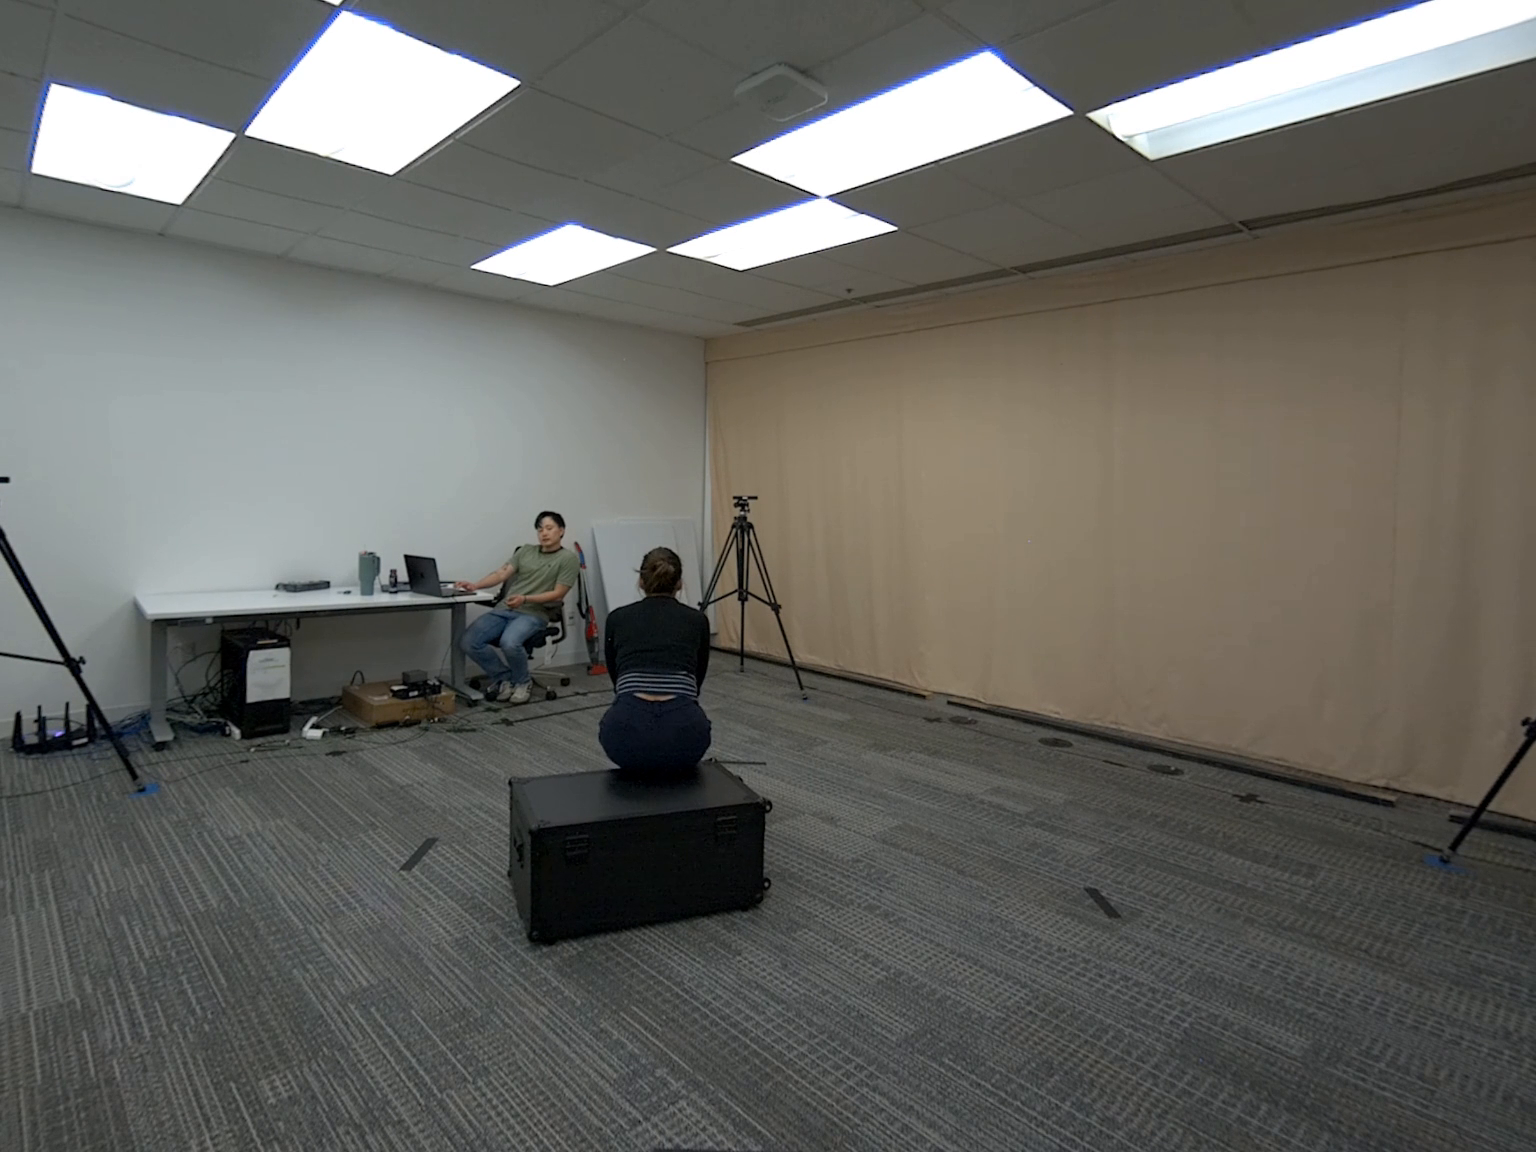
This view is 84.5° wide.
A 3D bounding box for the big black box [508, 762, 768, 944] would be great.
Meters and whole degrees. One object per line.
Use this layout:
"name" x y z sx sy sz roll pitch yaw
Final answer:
"big black box" -0.497 0.924 2.899 0.847 0.395 0.532 -1 5 -23
